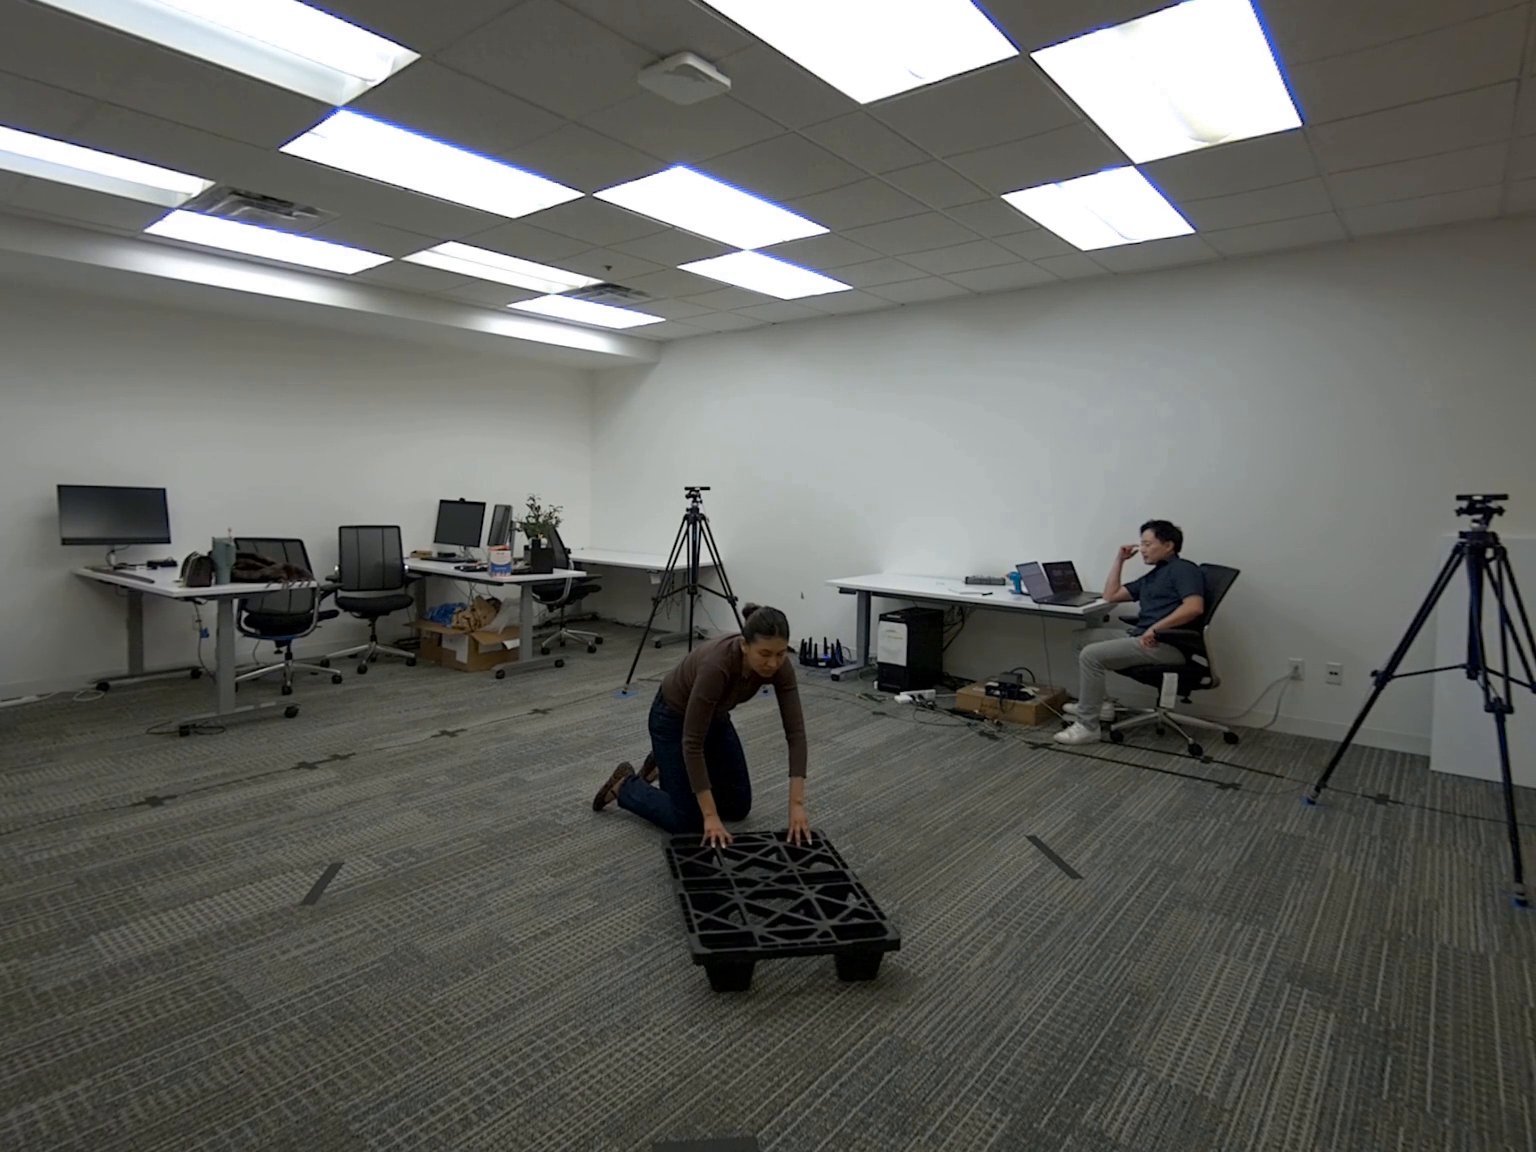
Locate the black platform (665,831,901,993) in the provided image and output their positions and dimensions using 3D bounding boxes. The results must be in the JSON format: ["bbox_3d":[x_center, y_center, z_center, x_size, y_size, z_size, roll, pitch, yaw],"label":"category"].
[{"bbox_3d":[-0.001,1.035,2.730,0.598,0.143,0.819,1,6,-12],"label":"black platform"}]
